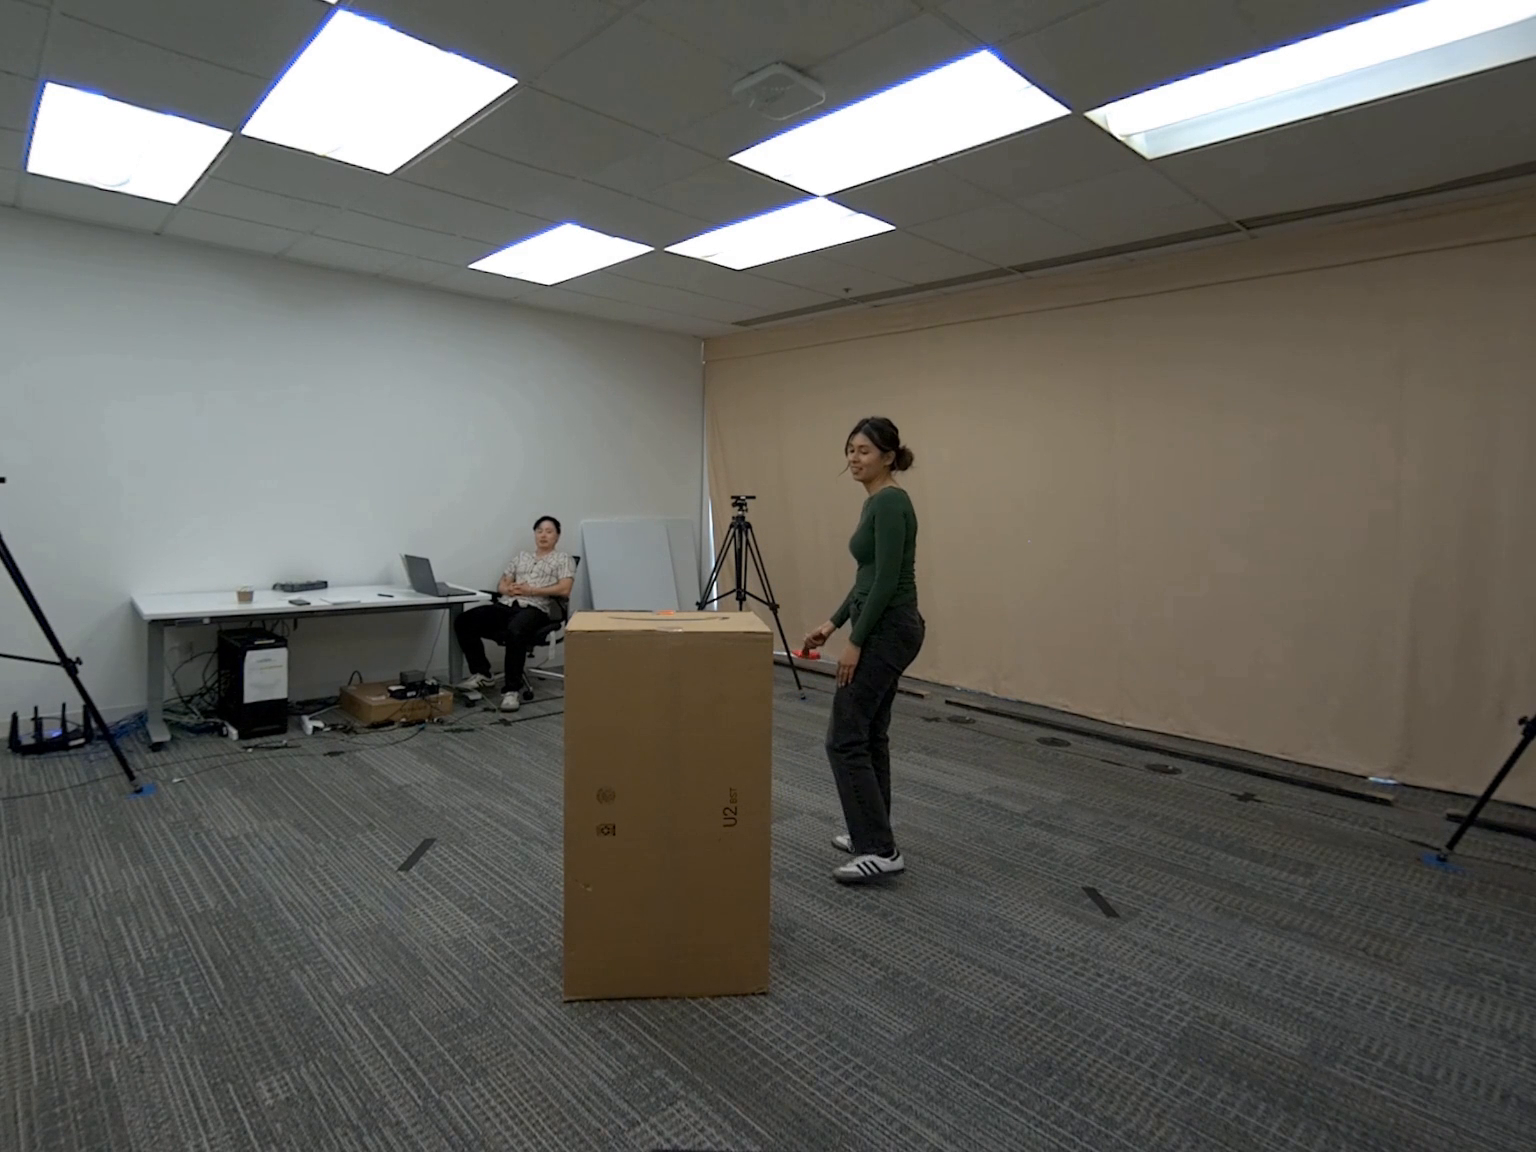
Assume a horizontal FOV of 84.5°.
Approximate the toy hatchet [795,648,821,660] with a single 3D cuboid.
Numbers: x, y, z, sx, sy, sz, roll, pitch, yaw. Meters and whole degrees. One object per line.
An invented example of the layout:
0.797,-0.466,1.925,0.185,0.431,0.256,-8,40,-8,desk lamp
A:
0.195,0.306,3.572,0.129,0.030,0.271,25,-28,-16,toy hatchet
